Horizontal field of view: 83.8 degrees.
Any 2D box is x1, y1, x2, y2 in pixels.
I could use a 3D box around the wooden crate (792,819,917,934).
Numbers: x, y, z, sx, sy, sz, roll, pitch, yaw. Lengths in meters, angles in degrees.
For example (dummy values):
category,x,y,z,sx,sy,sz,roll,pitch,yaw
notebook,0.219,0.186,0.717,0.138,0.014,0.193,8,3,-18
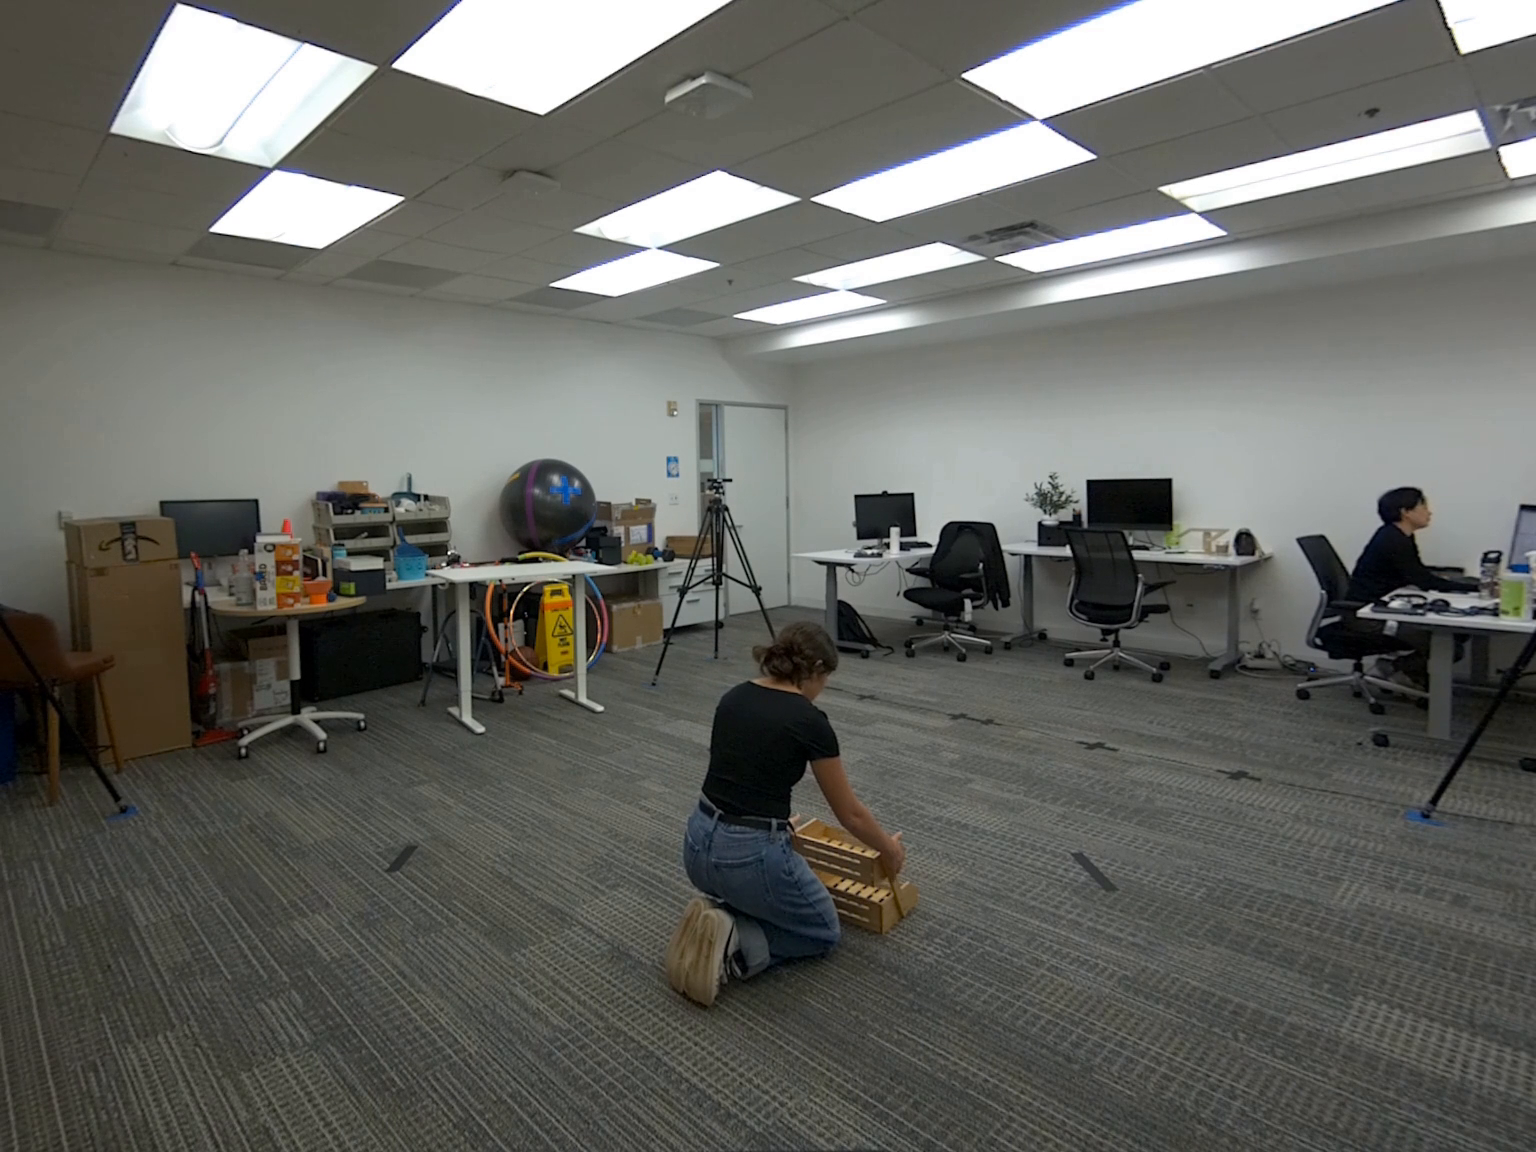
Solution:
category,x,y,z,sx,sy,sz,roll,pitch,yaw
wooden crate,0.289,0.946,2.771,0.334,0.272,0.295,2,7,37
